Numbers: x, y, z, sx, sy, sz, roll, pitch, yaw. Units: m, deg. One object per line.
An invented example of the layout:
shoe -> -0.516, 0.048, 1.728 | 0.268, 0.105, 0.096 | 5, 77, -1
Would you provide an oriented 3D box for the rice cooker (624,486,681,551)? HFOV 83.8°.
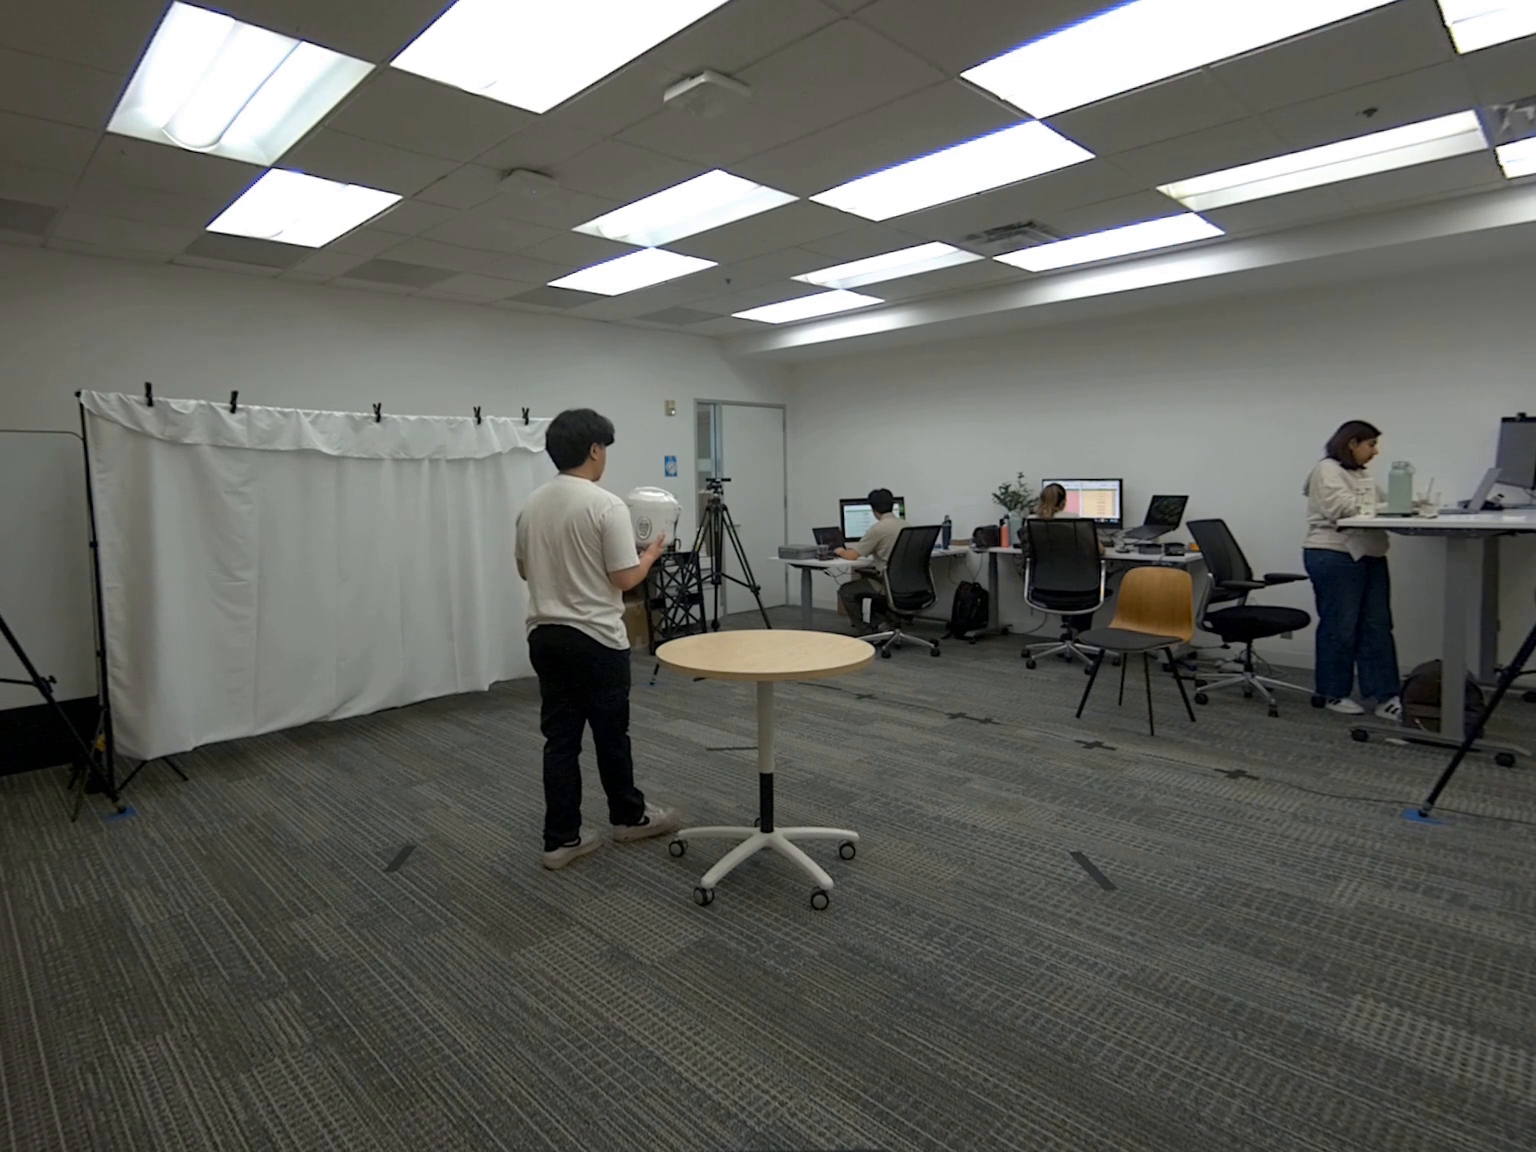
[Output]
rice cooker -> -0.468, -0.238, 3.410 | 0.222, 0.231, 0.217 | 5, 7, 5
